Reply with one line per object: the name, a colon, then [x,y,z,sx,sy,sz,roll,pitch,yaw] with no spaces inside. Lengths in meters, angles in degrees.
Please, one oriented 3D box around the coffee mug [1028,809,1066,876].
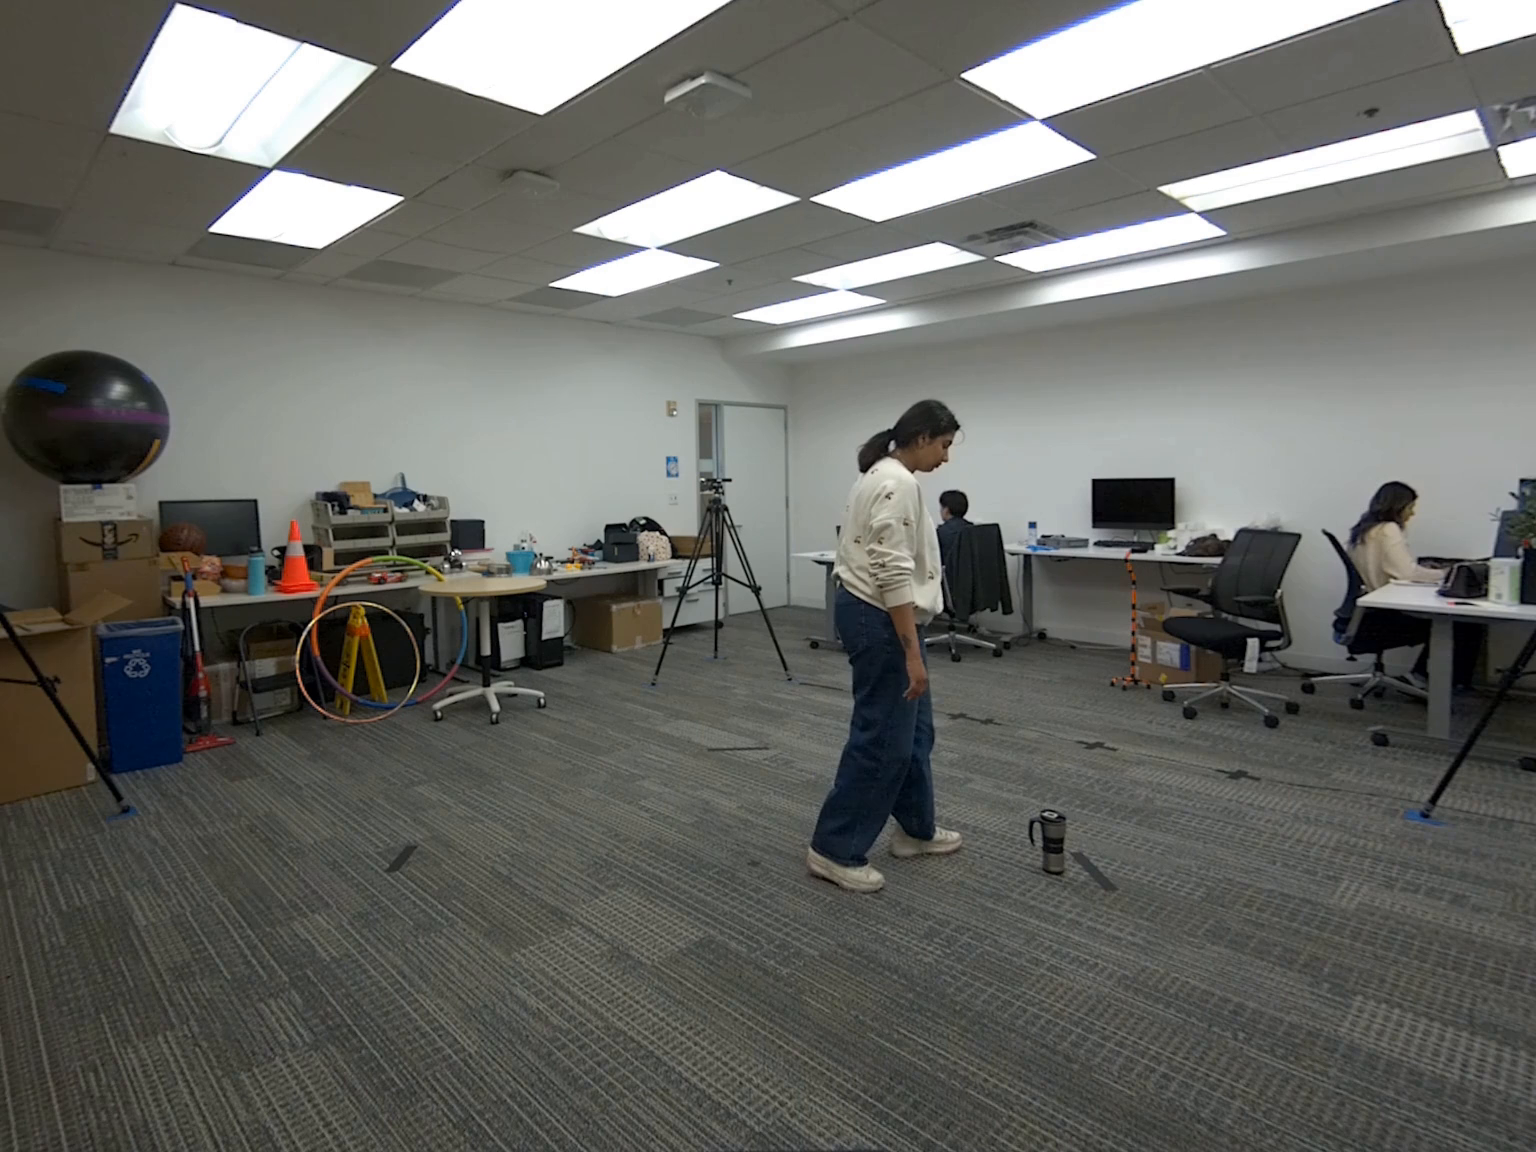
coffee mug: [0.986,0.934,3.014,0.126,0.201,0.086,8,13,43]
